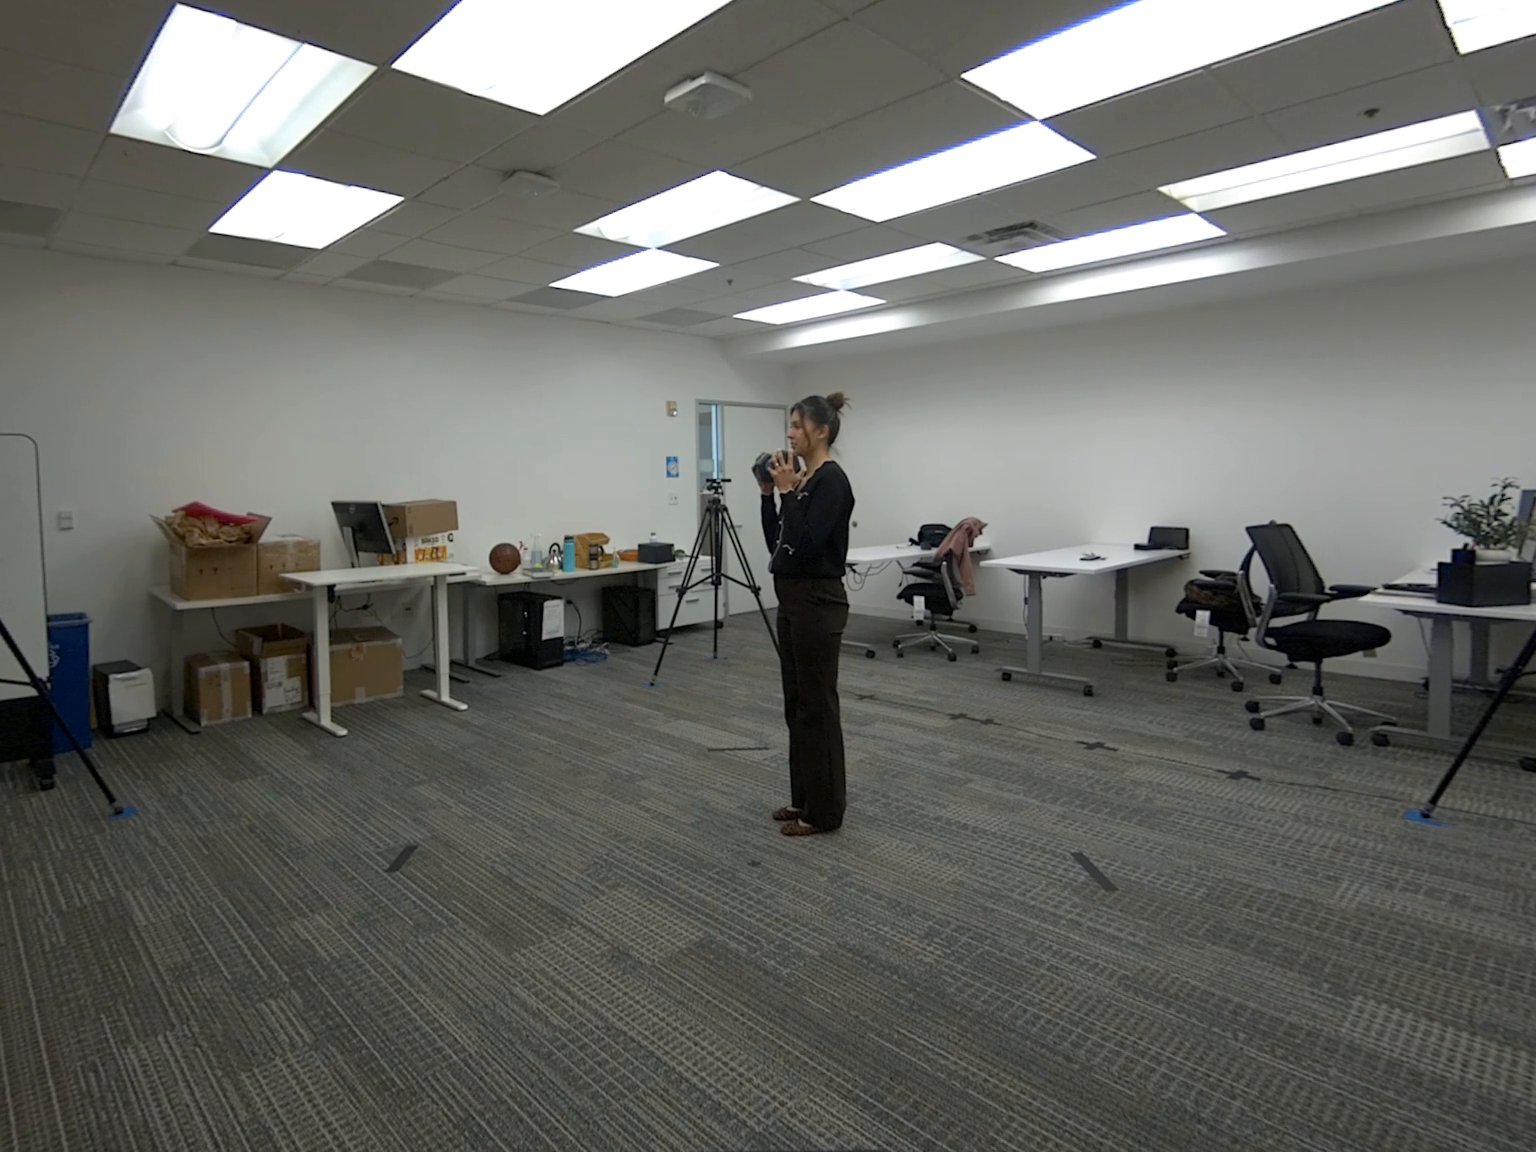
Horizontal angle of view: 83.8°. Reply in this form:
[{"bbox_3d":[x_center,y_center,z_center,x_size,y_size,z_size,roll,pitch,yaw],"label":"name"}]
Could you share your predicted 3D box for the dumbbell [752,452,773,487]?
[{"bbox_3d":[0.057,-0.431,3.387,0.108,0.122,0.297,-29,8,-7],"label":"dumbbell"}]
